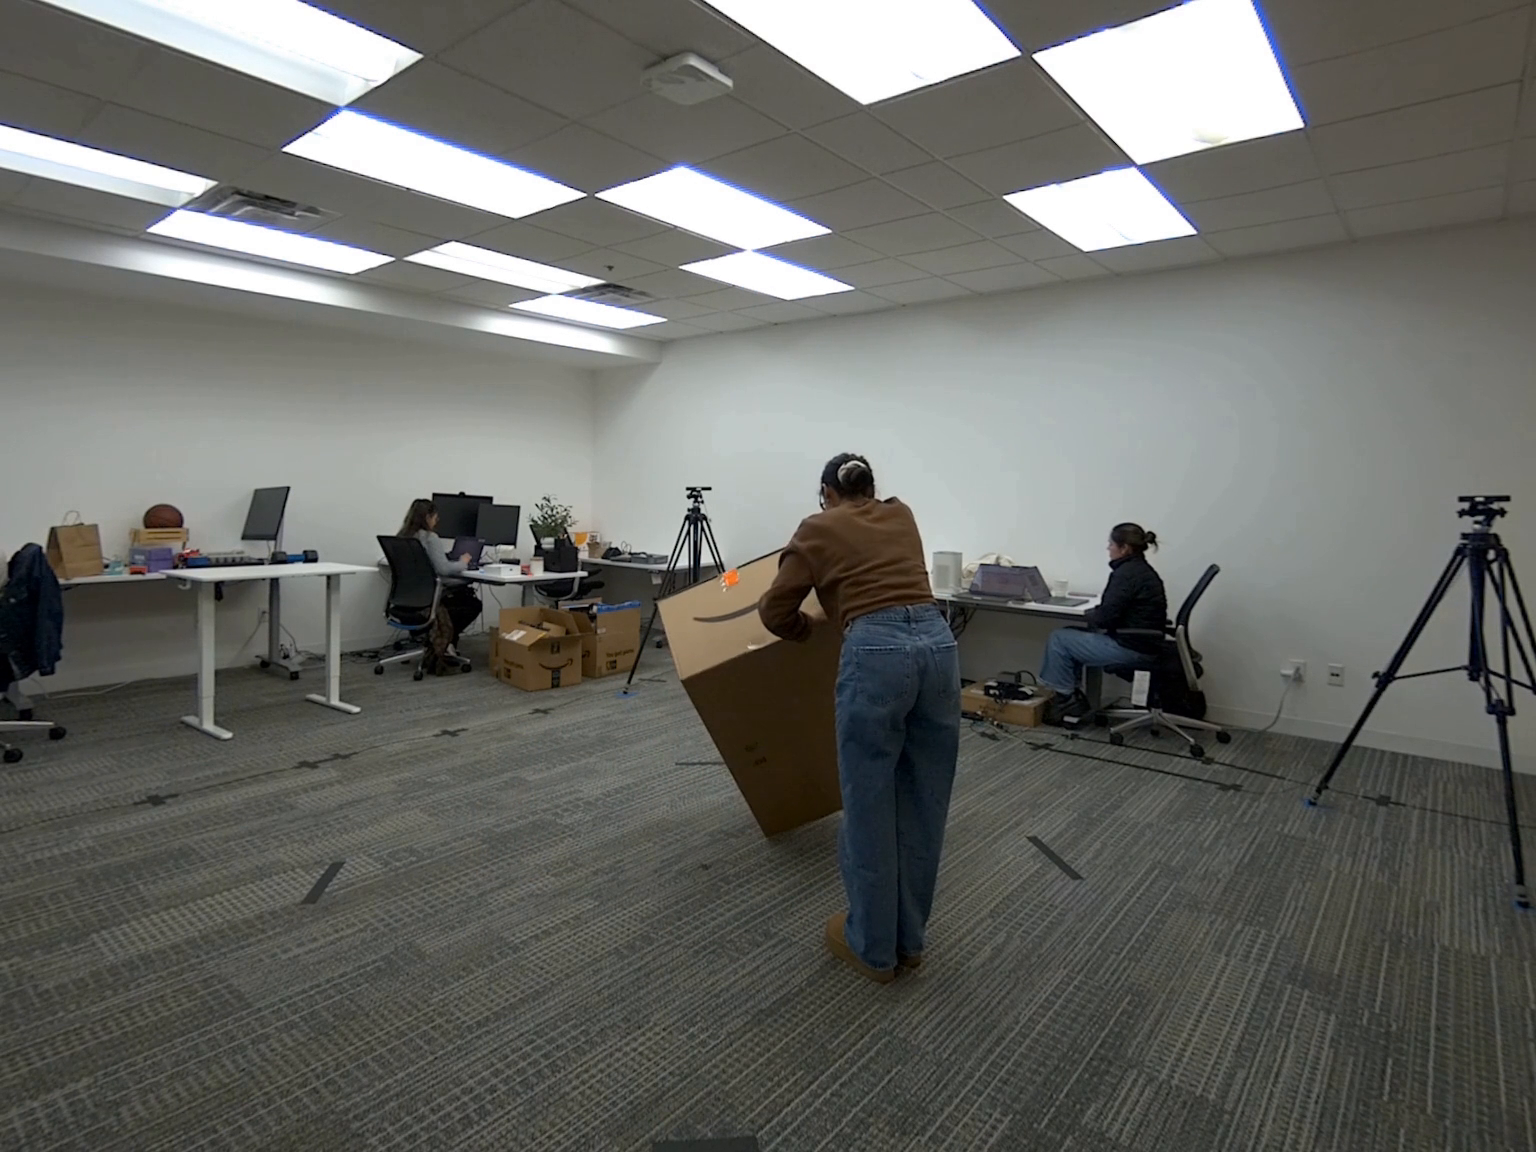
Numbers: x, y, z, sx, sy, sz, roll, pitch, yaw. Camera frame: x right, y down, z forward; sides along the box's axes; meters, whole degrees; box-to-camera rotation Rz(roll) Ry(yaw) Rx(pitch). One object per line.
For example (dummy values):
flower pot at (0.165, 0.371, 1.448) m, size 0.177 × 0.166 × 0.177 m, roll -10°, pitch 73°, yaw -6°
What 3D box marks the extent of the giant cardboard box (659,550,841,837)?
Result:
giant cardboard box at (0.040, 0.467, 3.264) m, size 0.583 × 0.989 × 0.464 m, roll -24°, pitch 39°, yaw -2°
